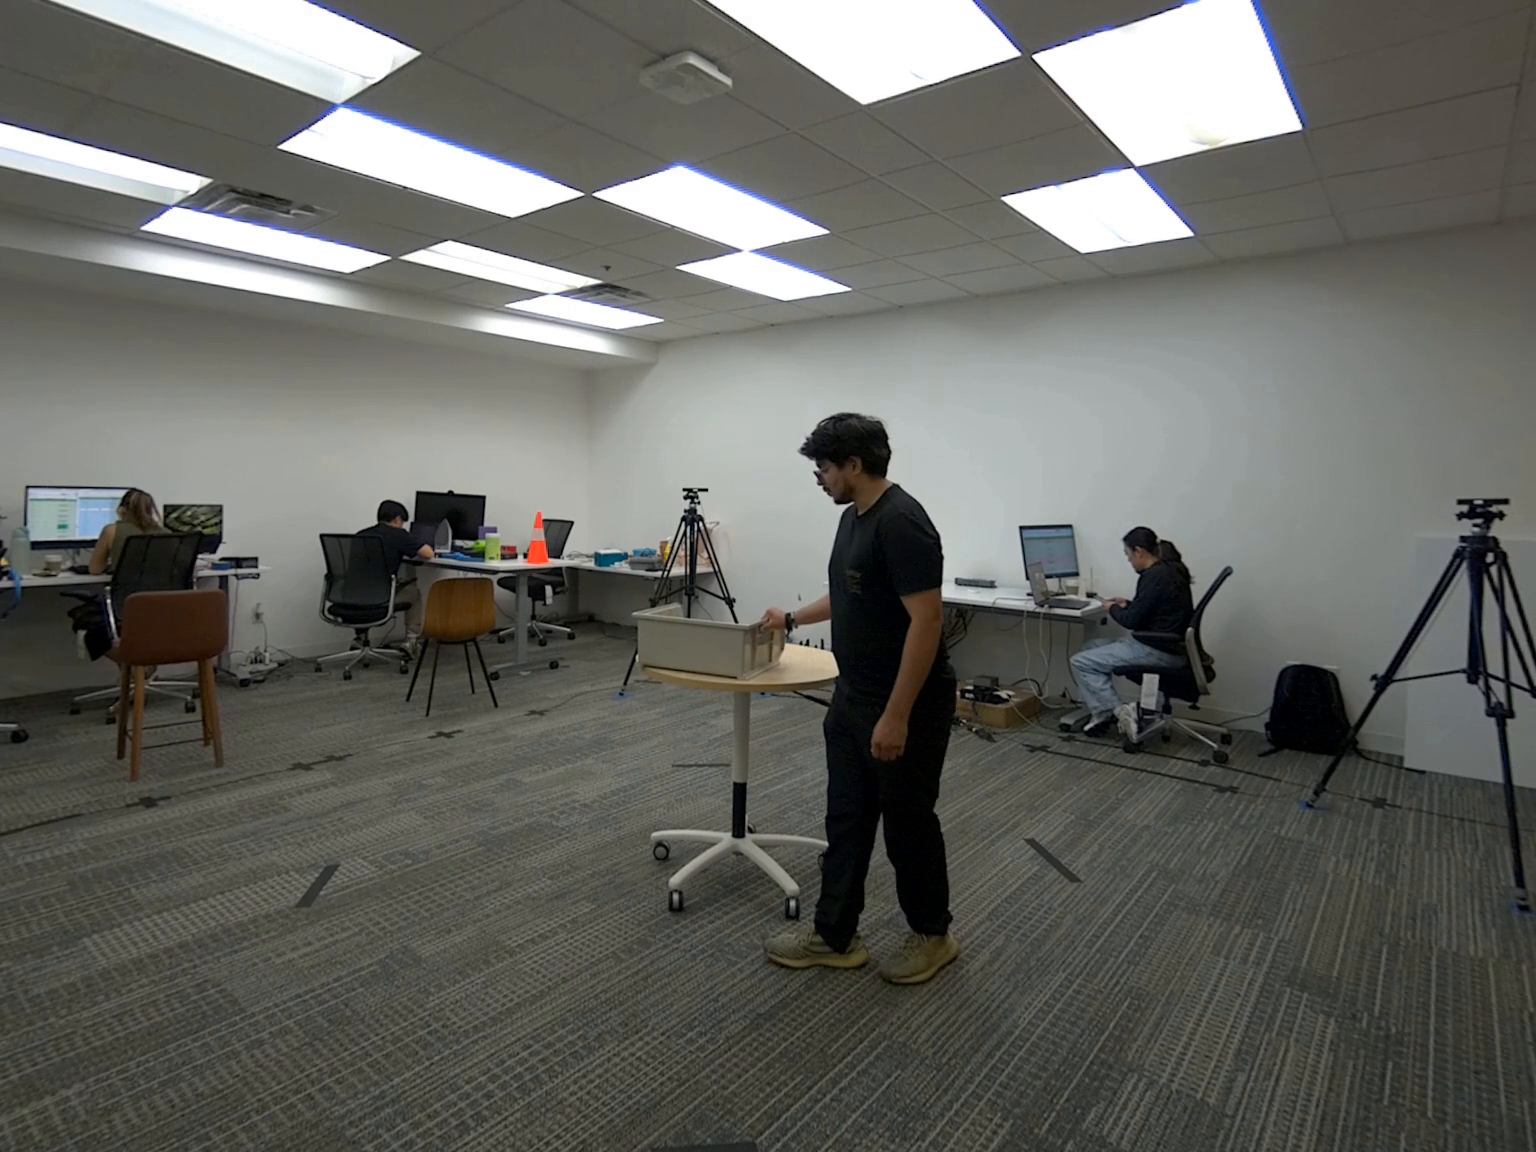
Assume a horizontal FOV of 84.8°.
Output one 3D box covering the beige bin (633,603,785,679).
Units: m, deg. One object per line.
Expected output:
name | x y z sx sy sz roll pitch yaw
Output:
beige bin | -0.205 0.212 2.933 0.433 0.188 0.370 4 7 22
